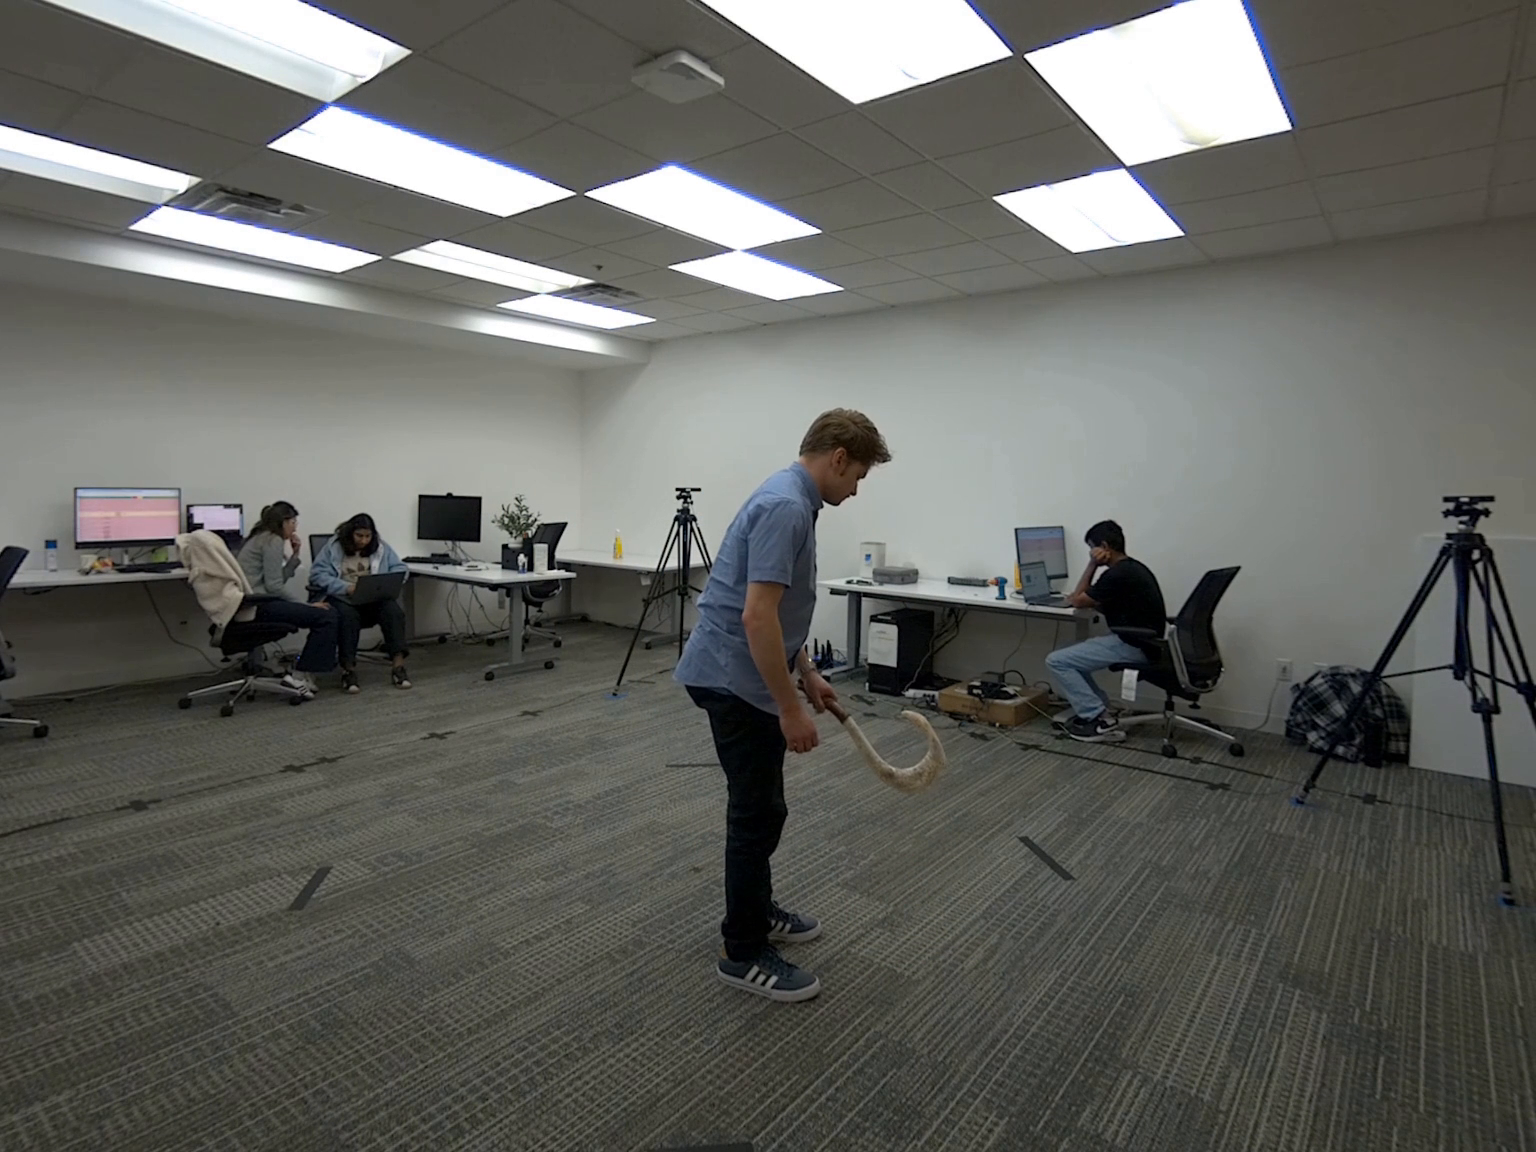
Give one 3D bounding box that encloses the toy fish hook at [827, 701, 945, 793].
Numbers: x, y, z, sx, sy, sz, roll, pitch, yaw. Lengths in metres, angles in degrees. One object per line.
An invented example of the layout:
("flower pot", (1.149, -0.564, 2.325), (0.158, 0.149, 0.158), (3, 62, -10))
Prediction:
("toy fish hook", (0.311, 0.448, 2.589), (0.523, 0.224, 0.047), (41, -9, 23))
